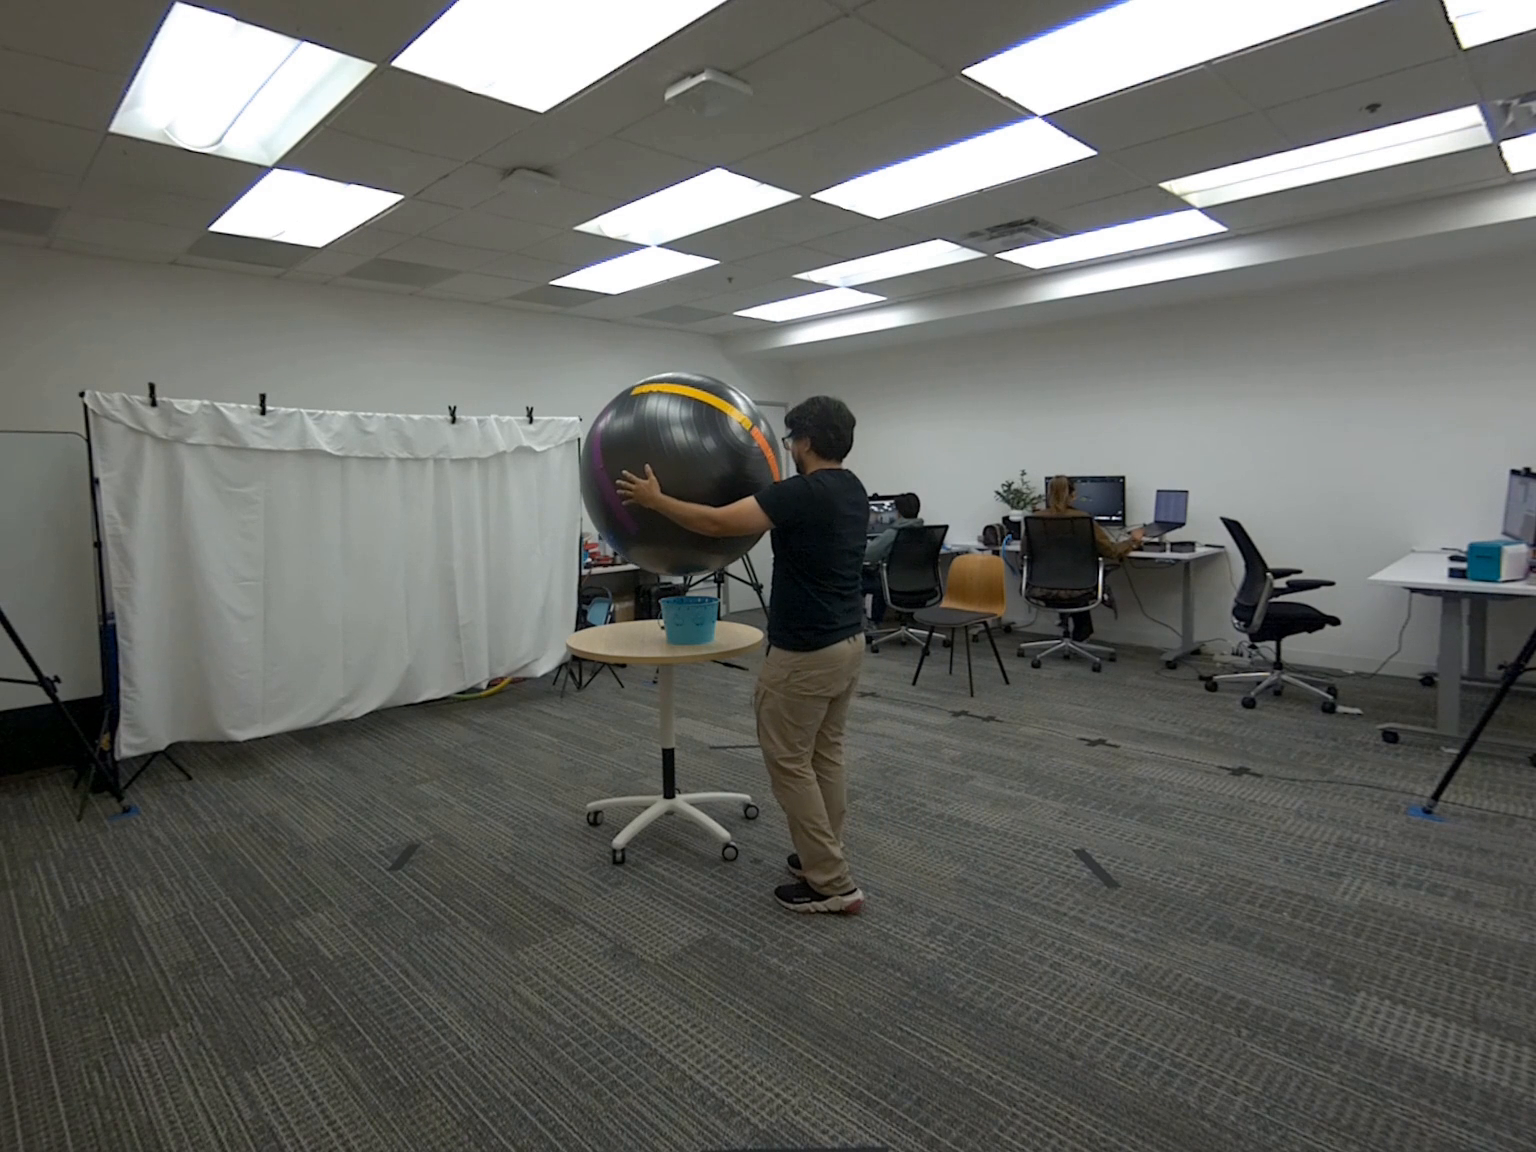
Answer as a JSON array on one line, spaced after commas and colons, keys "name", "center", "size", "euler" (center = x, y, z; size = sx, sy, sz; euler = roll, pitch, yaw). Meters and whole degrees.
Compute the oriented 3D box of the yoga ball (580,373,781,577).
[{"name": "yoga ball", "center": [-0.326, -0.375, 3.206], "size": [0.757, 0.755, 0.762], "euler": [-1, 5, -2]}]
